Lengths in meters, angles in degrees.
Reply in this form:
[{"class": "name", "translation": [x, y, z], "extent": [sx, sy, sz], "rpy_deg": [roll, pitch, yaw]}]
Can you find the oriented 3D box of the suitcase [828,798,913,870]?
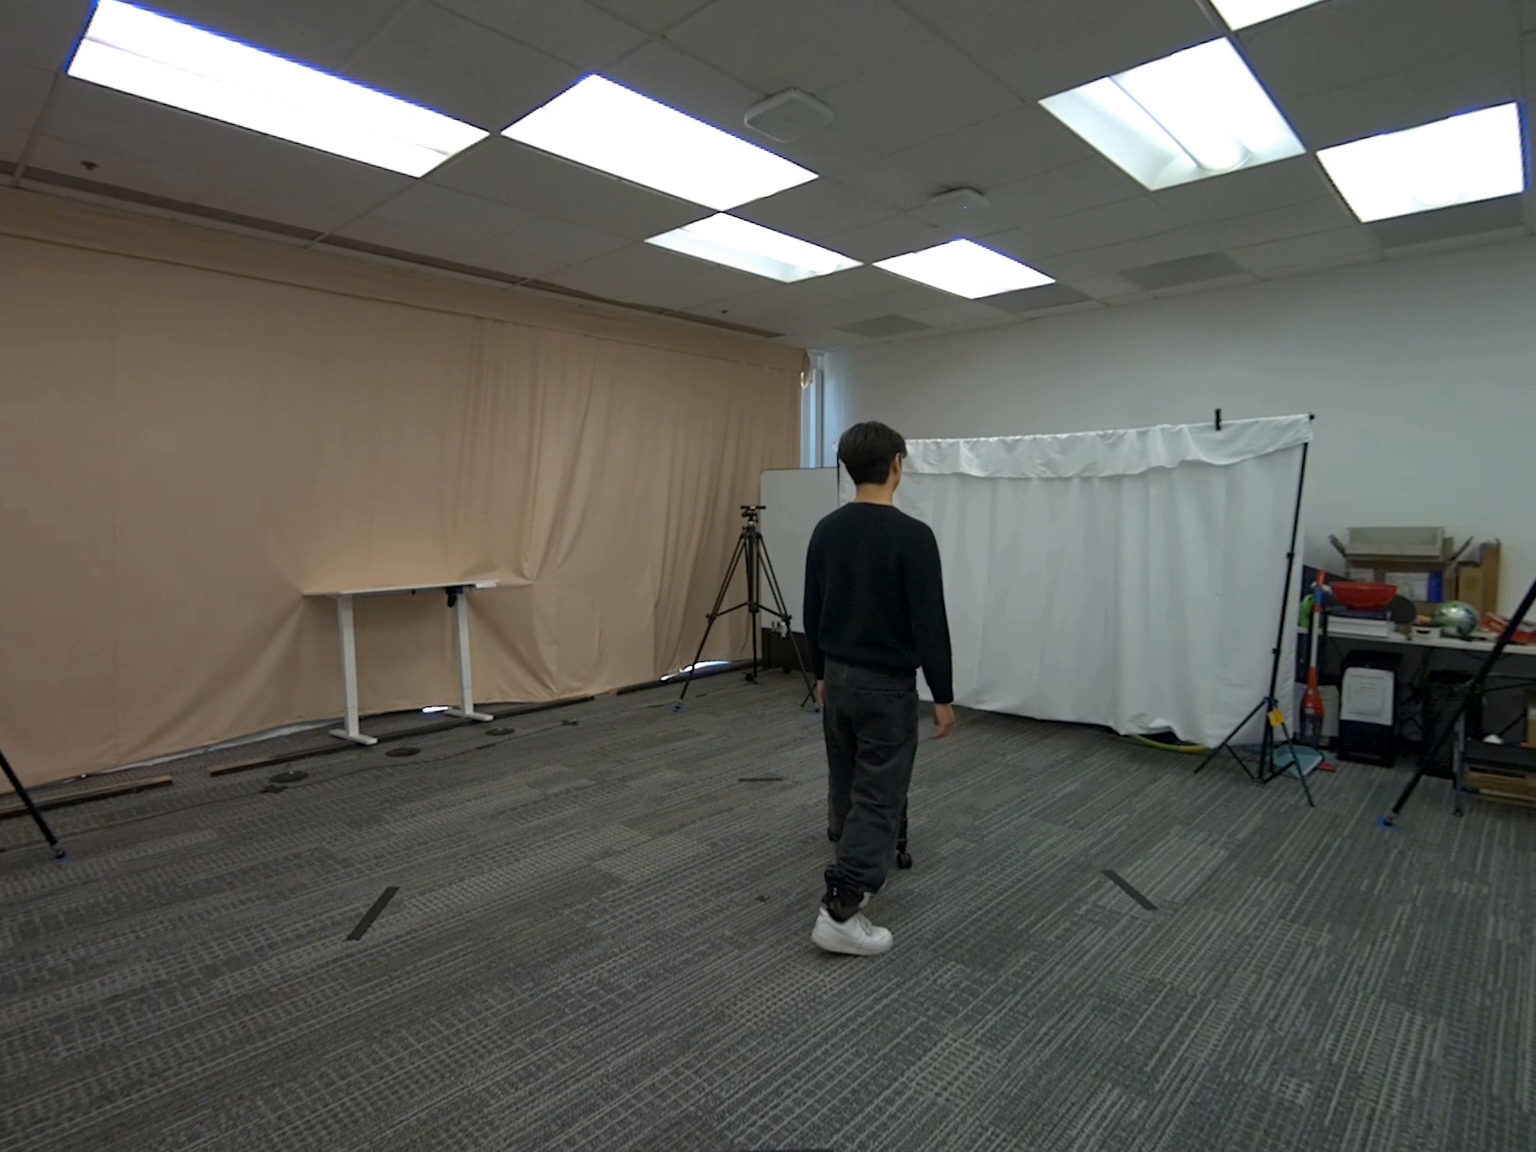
[{"class": "suitcase", "translation": [0.410, 0.837, 3.390], "extent": [0.247, 0.549, 0.378], "rpy_deg": [0, 2, -7]}]
